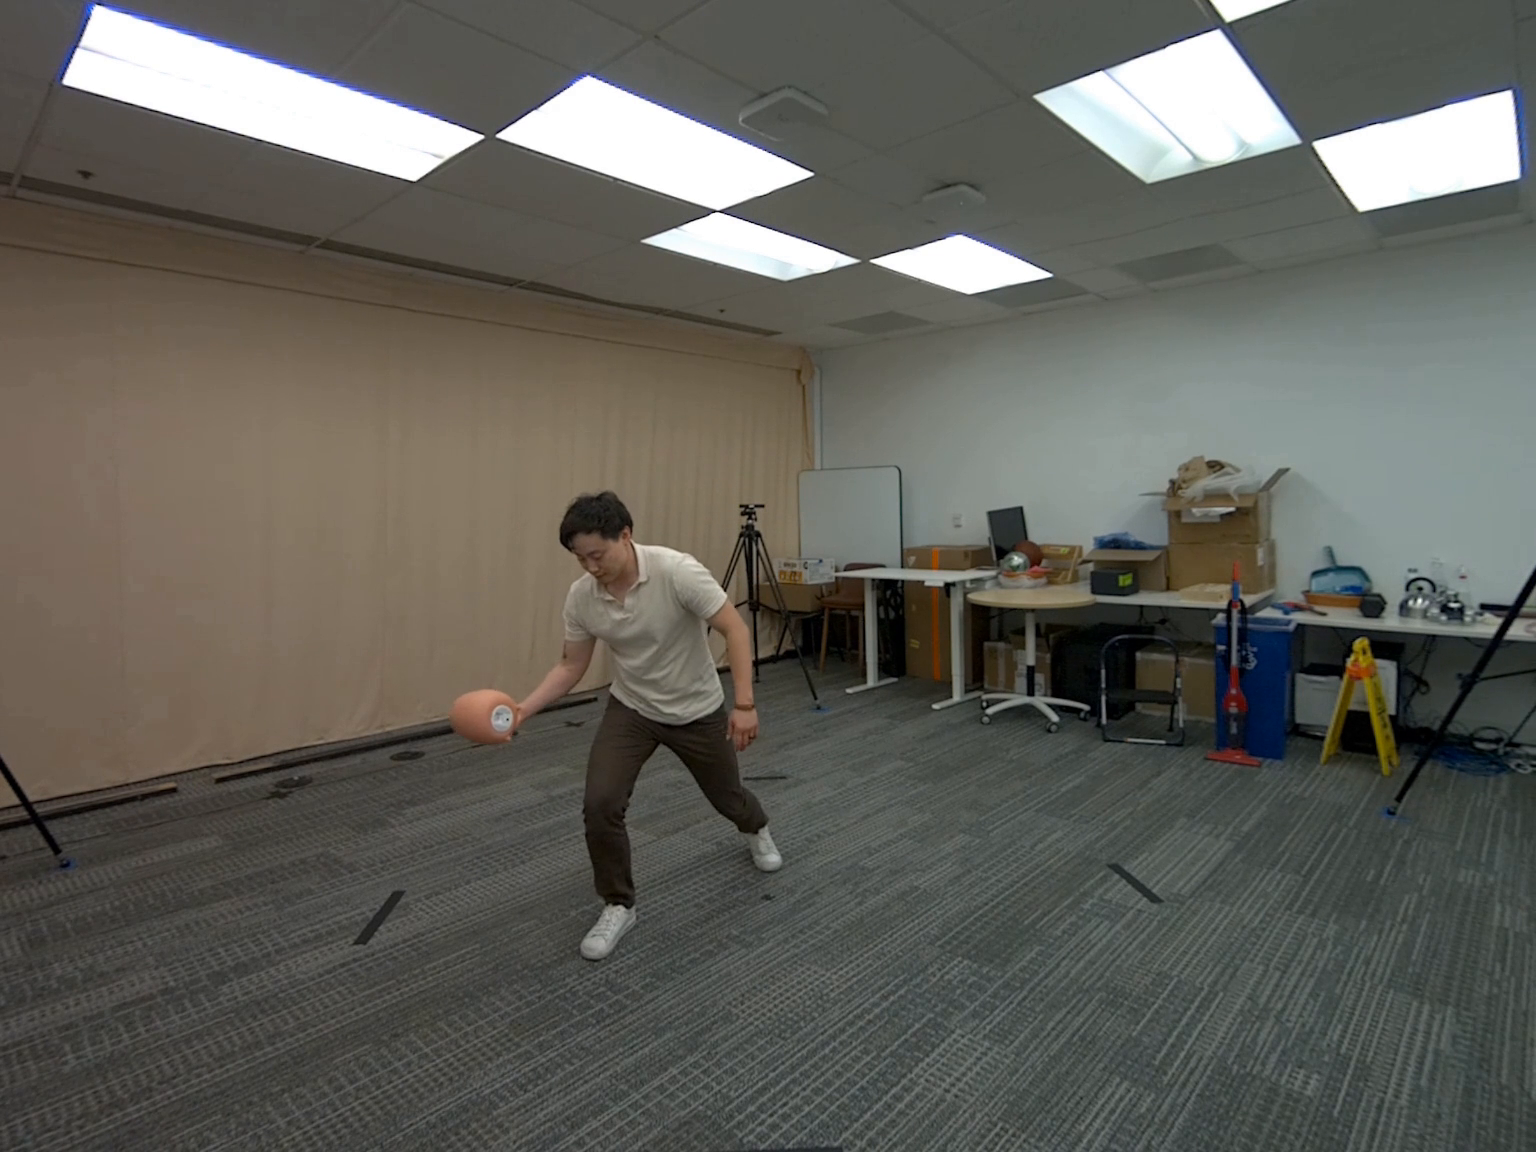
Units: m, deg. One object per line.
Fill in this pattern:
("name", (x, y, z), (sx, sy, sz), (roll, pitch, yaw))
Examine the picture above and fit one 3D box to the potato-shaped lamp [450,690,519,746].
("potato-shaped lamp", (-0.881, 0.436, 2.597), (0.203, 0.166, 0.165), (-9, -30, 35))
